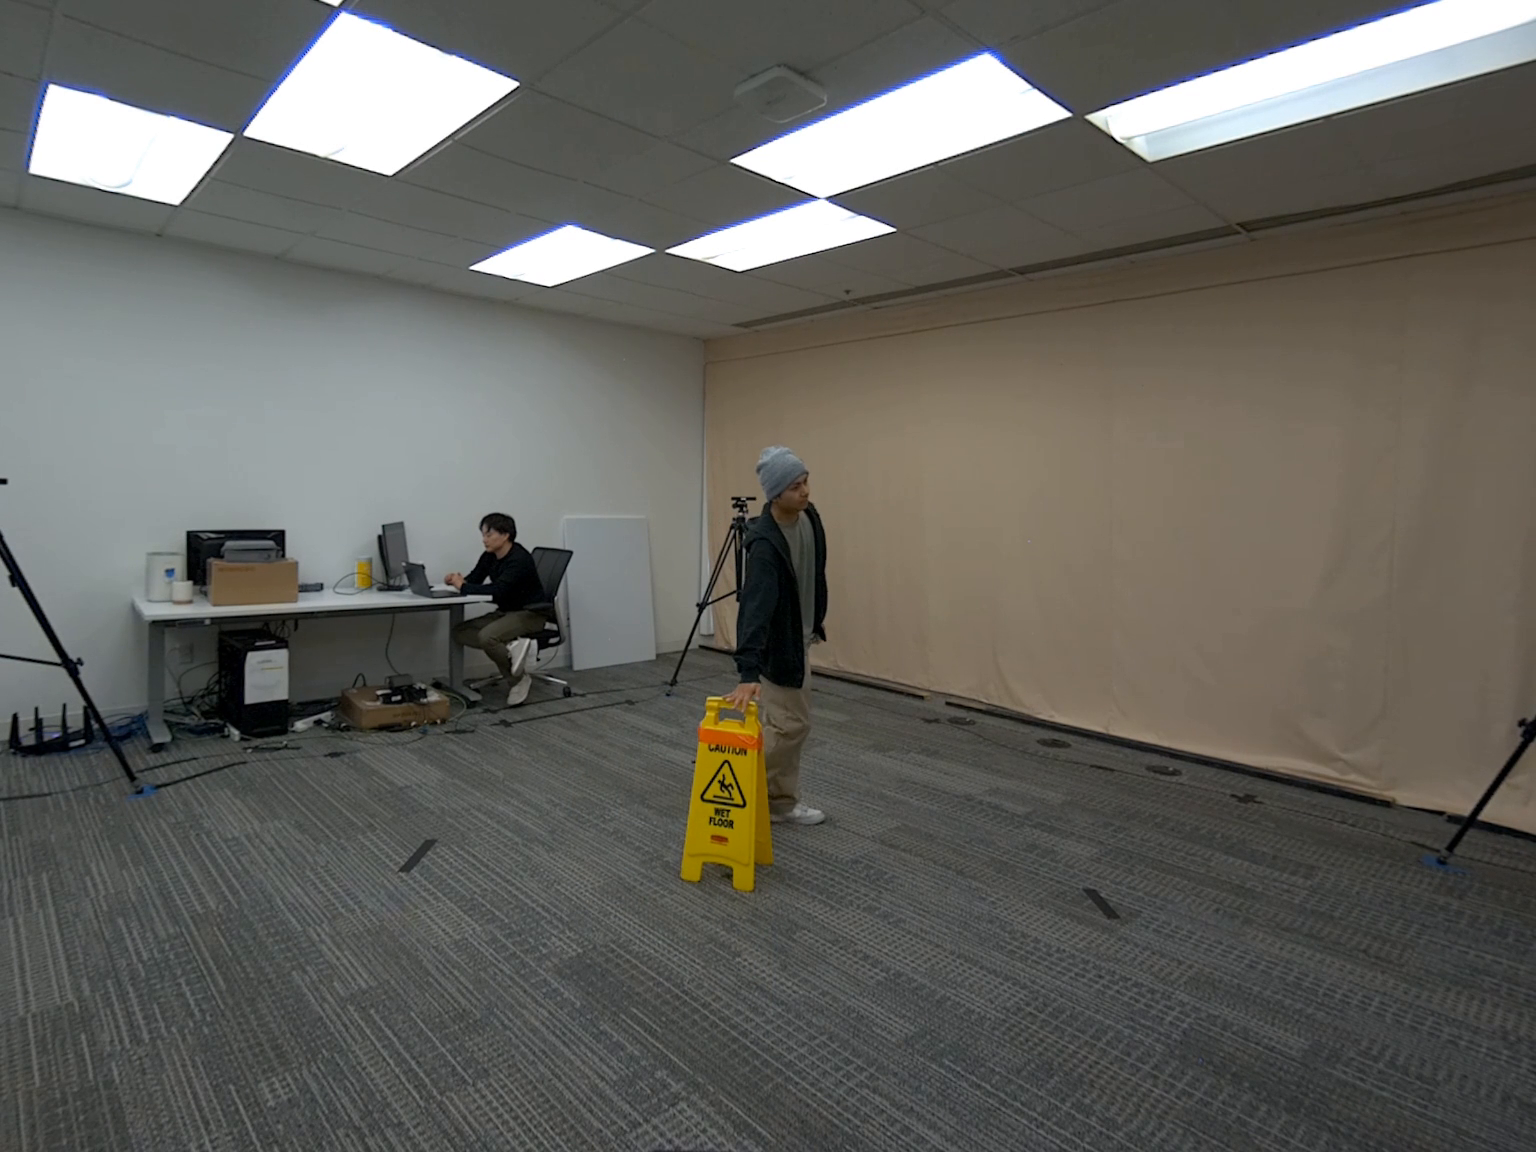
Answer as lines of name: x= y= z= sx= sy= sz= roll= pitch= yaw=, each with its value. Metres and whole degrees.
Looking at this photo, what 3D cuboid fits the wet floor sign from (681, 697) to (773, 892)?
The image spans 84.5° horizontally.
wet floor sign: x=-0.147 y=0.782 z=3.132 sx=0.286 sy=0.645 sz=0.286 roll=4 pitch=3 yaw=18
